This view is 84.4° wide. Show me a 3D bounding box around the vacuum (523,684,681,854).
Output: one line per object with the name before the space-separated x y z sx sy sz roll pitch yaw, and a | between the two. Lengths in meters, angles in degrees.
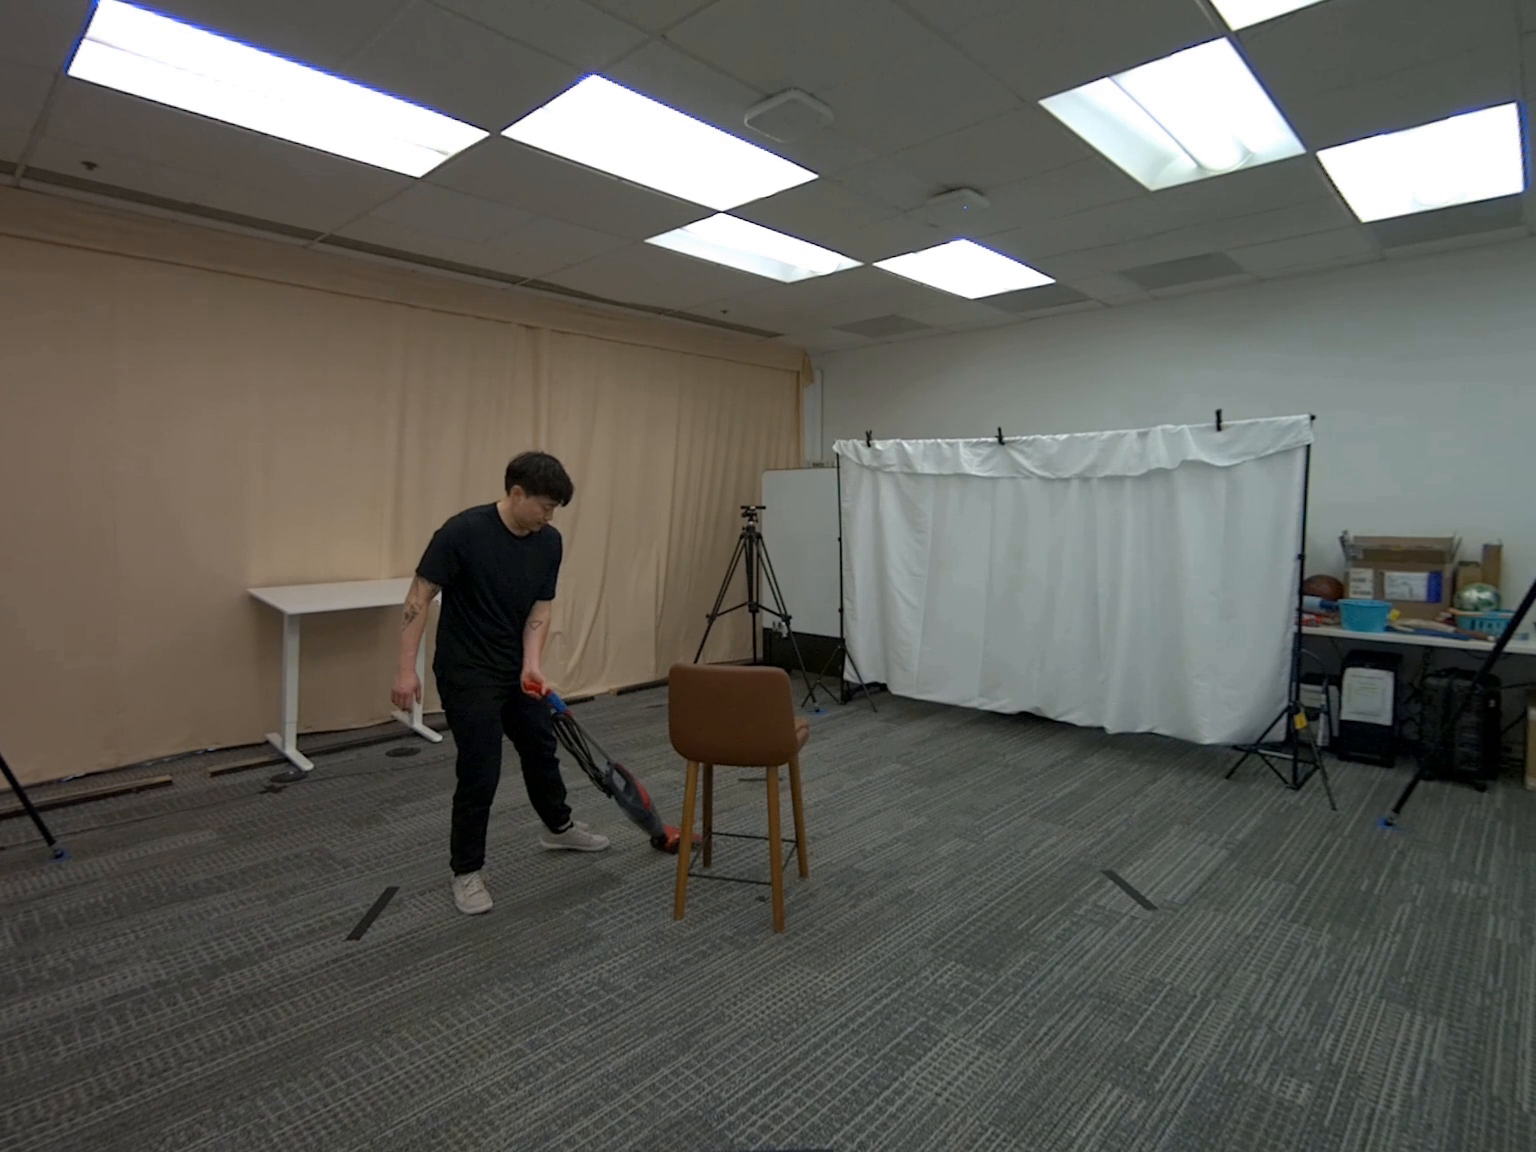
vacuum | -0.604 0.740 3.177 0.260 1.017 0.144 -5 44 34
